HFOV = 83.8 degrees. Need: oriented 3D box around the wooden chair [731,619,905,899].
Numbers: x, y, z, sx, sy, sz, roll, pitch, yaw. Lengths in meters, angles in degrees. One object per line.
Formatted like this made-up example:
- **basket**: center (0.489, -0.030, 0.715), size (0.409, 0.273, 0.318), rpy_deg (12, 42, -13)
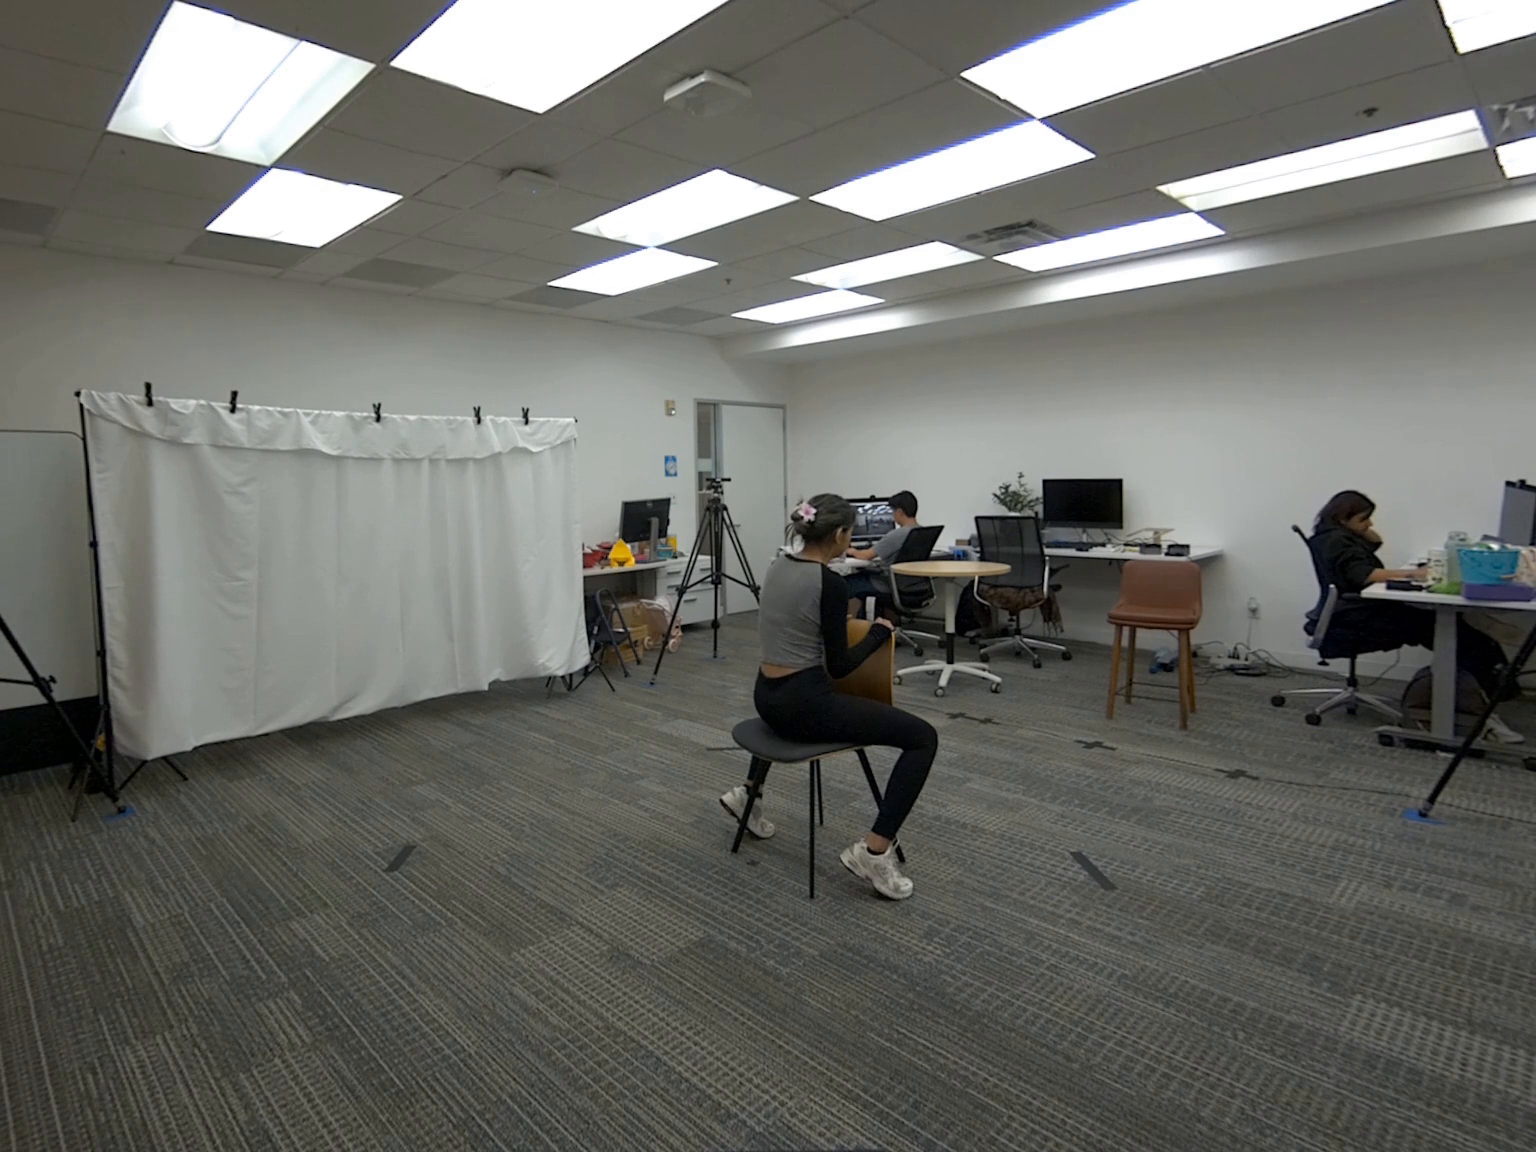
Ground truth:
- **wooden chair**: center (0.172, 0.614, 3.103), size (0.508, 0.876, 0.492), rpy_deg (2, 2, -37)
